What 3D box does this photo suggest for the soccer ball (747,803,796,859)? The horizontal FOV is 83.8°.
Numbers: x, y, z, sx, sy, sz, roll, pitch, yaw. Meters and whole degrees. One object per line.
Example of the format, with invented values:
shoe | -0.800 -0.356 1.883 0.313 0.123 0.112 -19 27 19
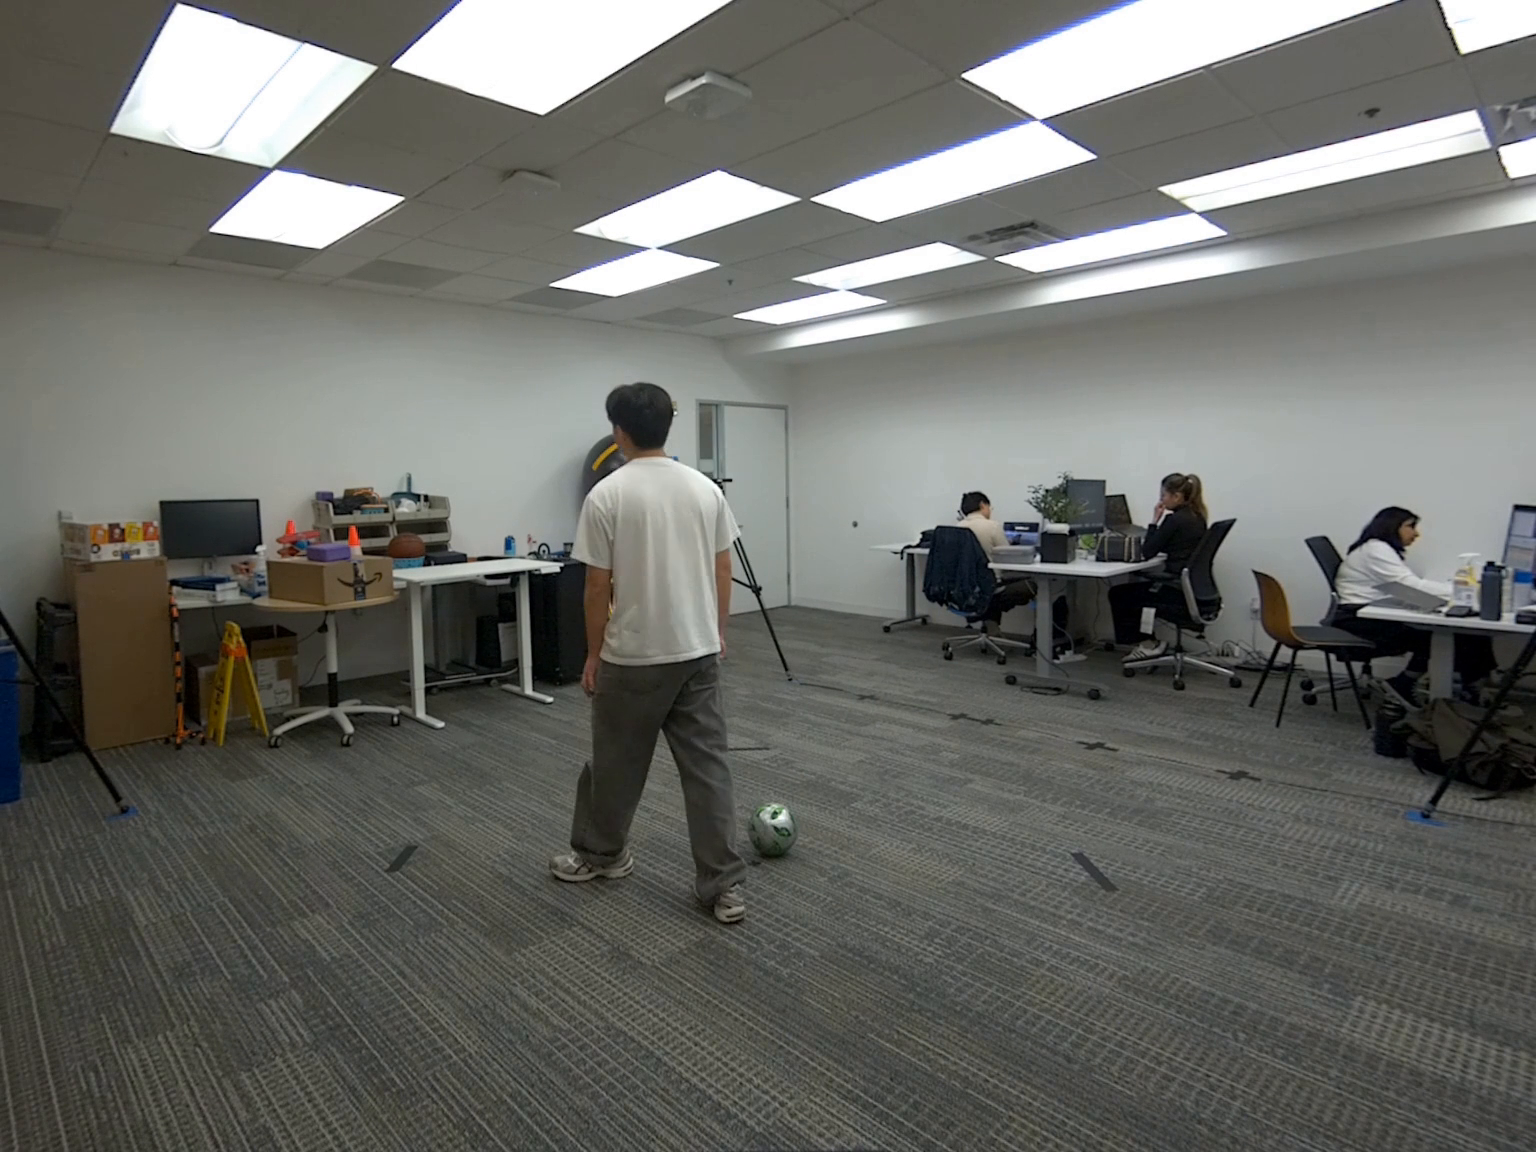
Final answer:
soccer ball | 0.020 0.942 3.185 0.187 0.187 0.188 -1 5 -2
